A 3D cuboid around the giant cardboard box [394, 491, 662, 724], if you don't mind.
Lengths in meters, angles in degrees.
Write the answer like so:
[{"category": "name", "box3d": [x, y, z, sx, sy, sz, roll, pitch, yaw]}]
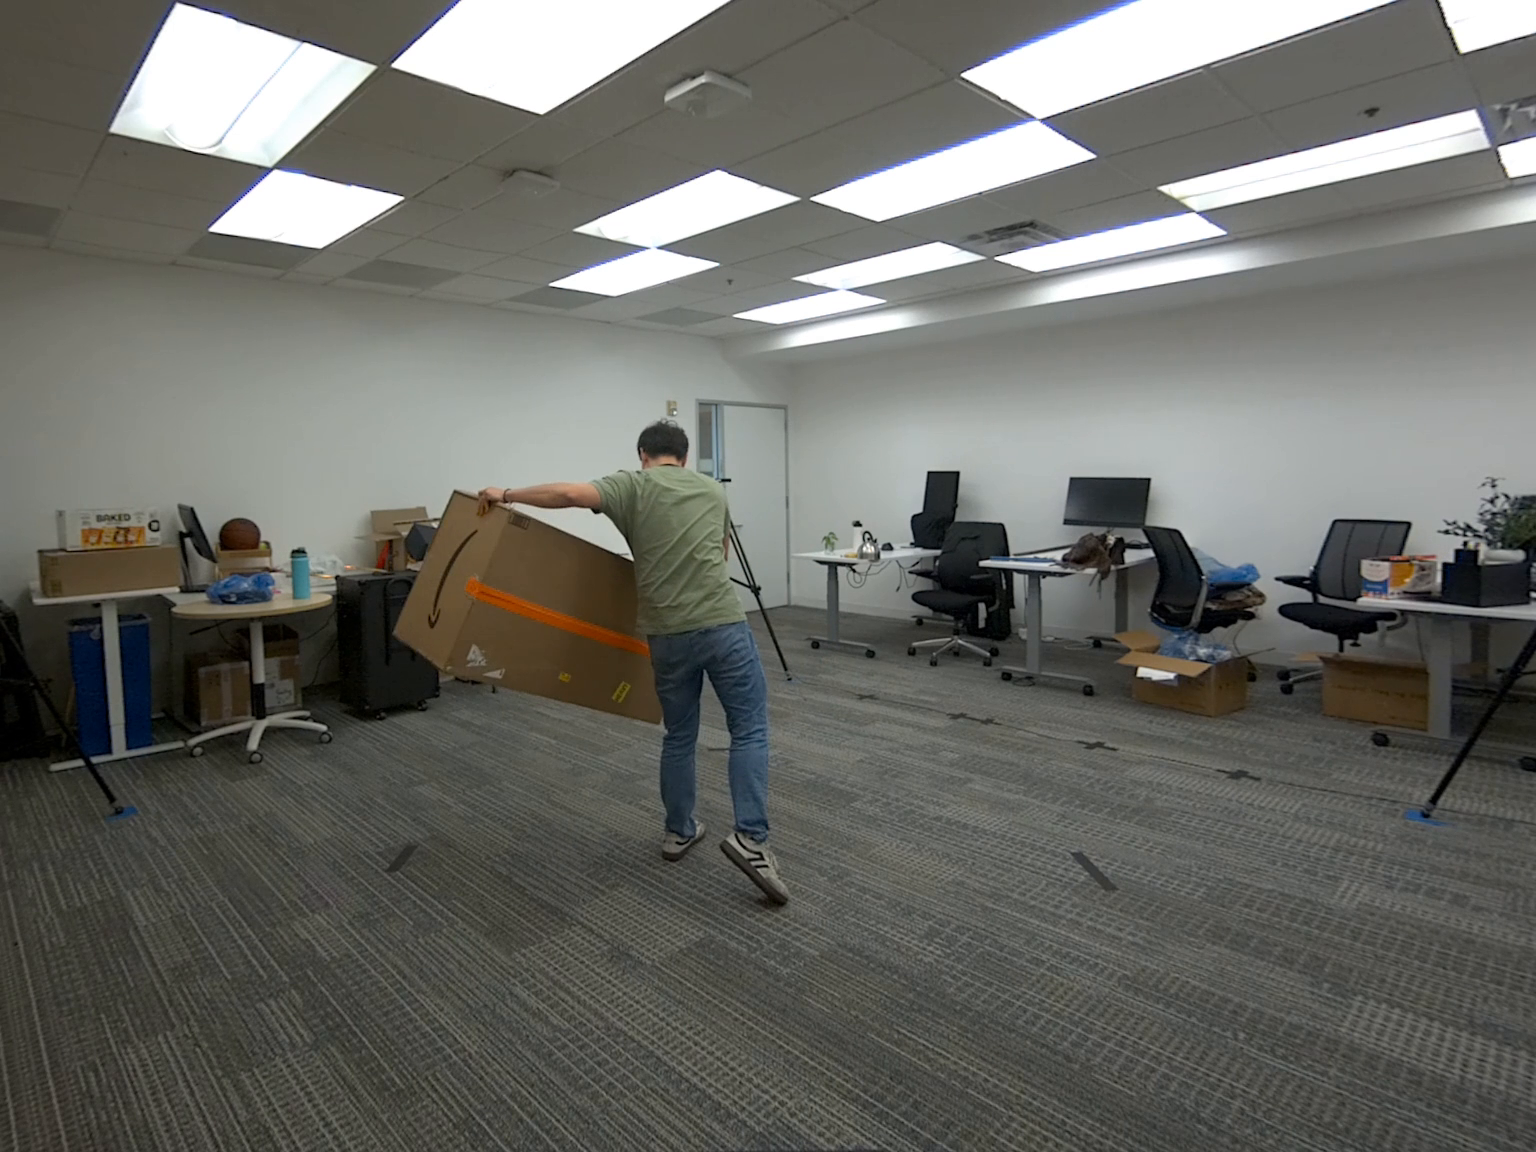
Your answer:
[{"category": "giant cardboard box", "box3d": [-0.788, 0.150, 3.302, 0.442, 0.579, 0.987, 18, -6, 44]}]
